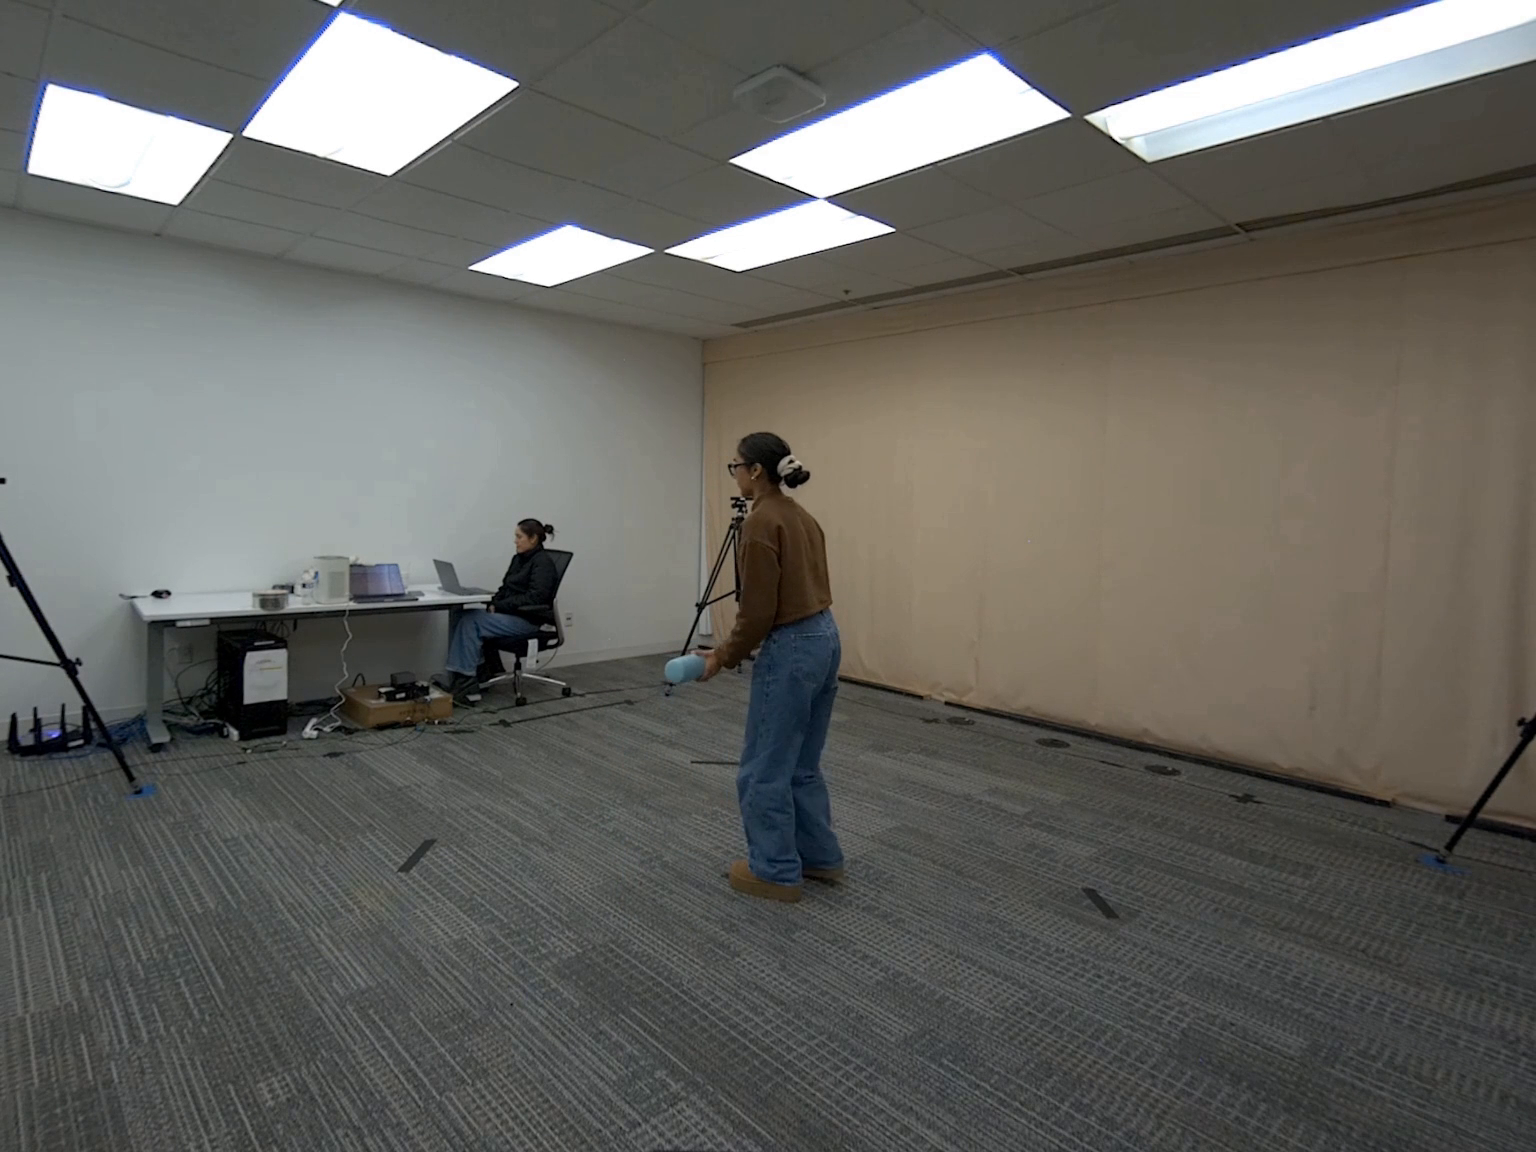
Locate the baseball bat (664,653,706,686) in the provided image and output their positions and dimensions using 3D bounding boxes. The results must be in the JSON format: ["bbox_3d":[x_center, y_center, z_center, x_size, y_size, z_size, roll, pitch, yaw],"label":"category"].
[{"bbox_3d":[-0.196,0.311,3.077,0.091,0.089,0.532,4,4,29],"label":"baseball bat"}]
